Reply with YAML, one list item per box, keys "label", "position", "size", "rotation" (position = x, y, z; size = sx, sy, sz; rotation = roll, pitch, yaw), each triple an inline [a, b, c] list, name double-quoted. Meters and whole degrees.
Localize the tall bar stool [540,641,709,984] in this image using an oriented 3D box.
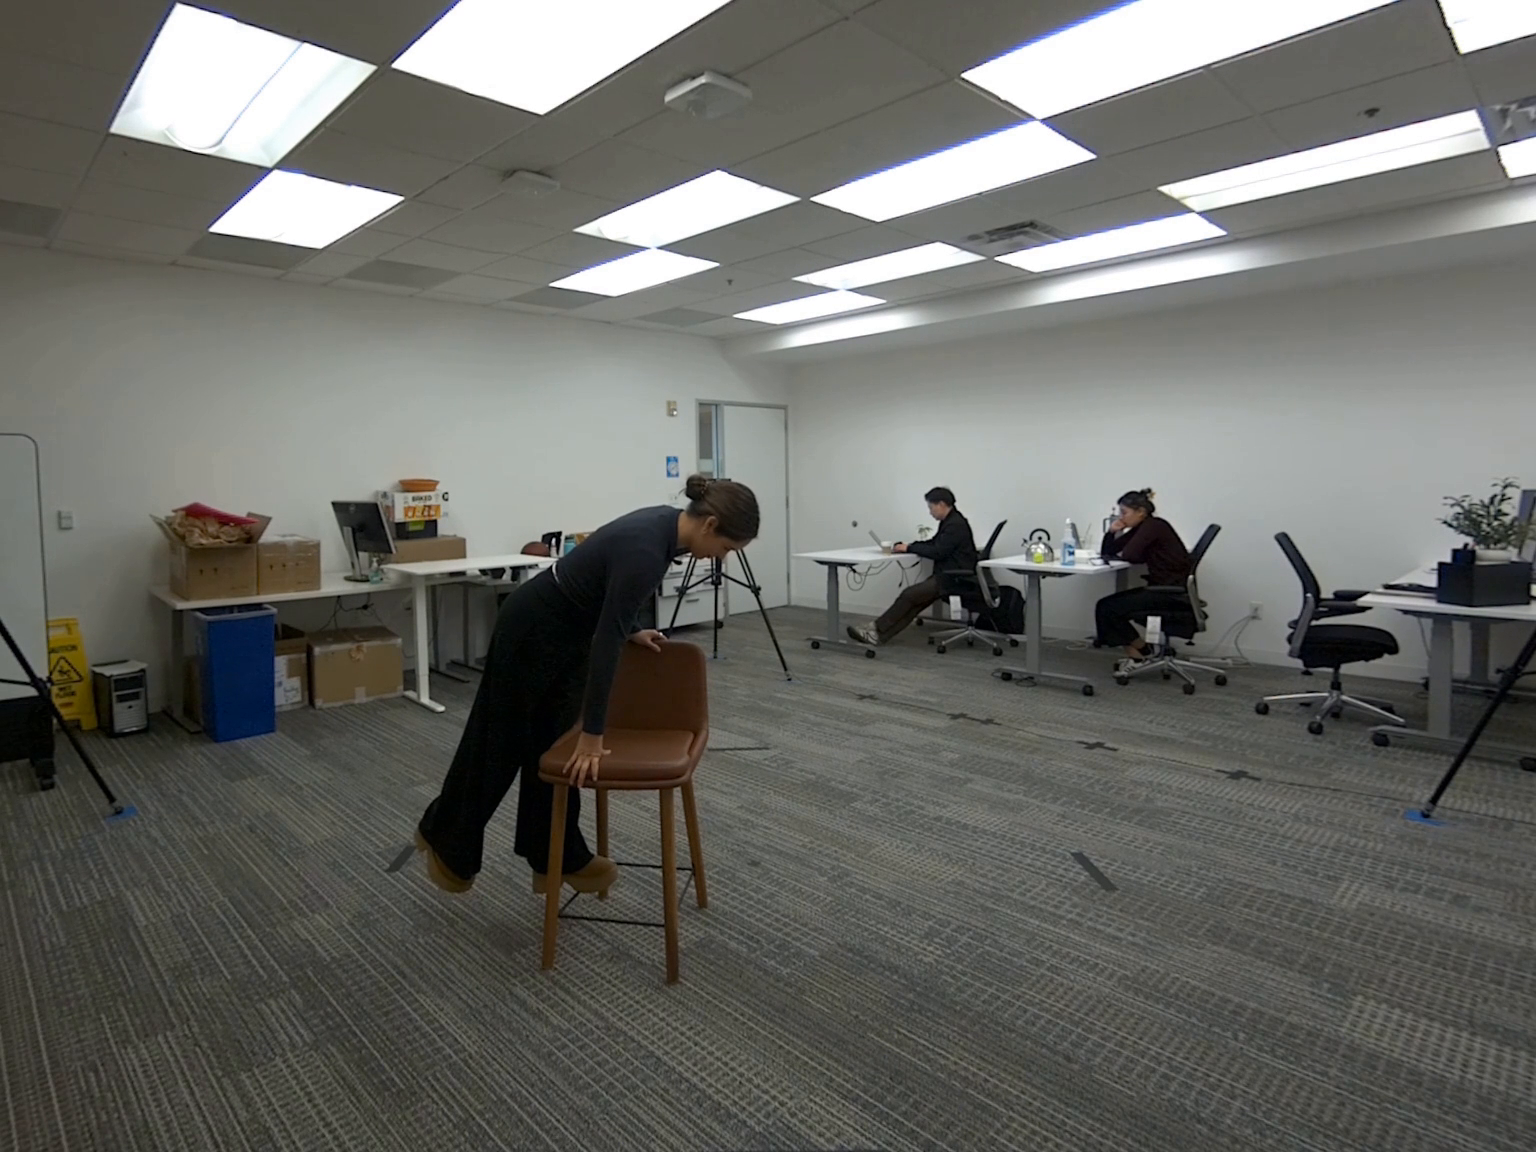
- label: "tall bar stool"
  position: [-0.418, 0.676, 2.606]
  size: [0.462, 0.887, 0.464]
  rotation: [0, 4, 11]
